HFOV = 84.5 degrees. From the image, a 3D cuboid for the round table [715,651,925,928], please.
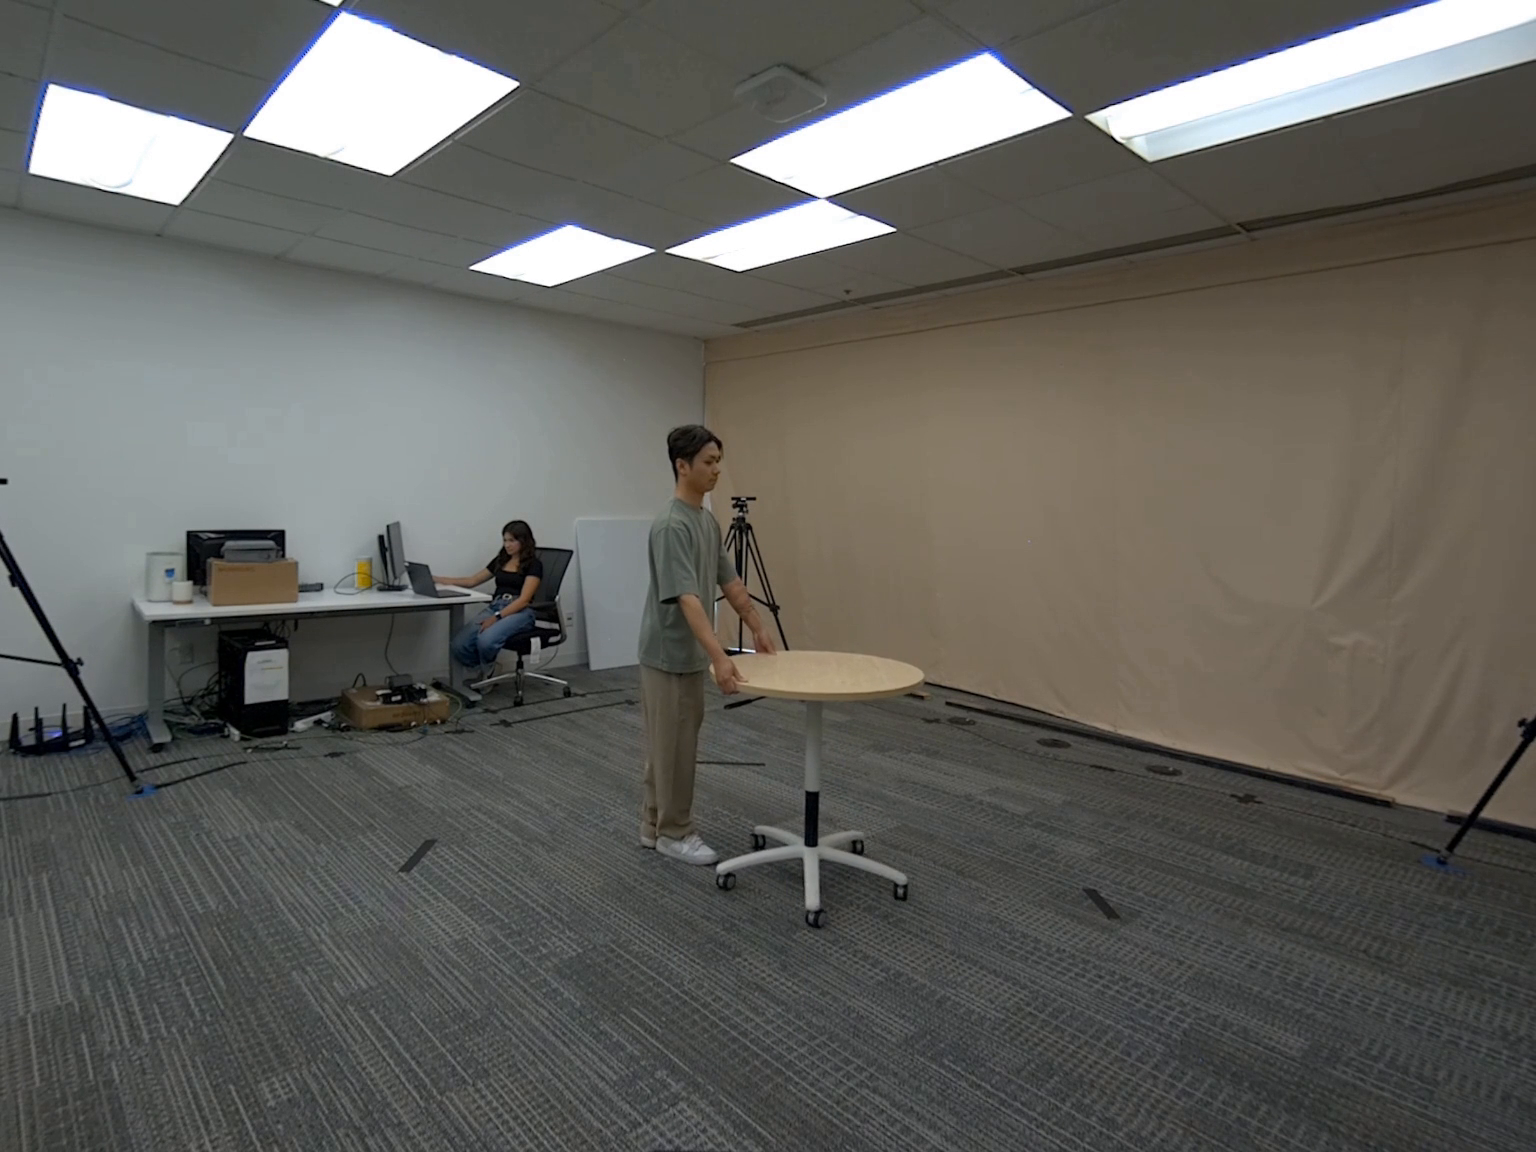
[{"bbox_3d":[0.167,0.725,3.042,0.784,0.784,0.787,1,4,-1],"label":"round table"}]
